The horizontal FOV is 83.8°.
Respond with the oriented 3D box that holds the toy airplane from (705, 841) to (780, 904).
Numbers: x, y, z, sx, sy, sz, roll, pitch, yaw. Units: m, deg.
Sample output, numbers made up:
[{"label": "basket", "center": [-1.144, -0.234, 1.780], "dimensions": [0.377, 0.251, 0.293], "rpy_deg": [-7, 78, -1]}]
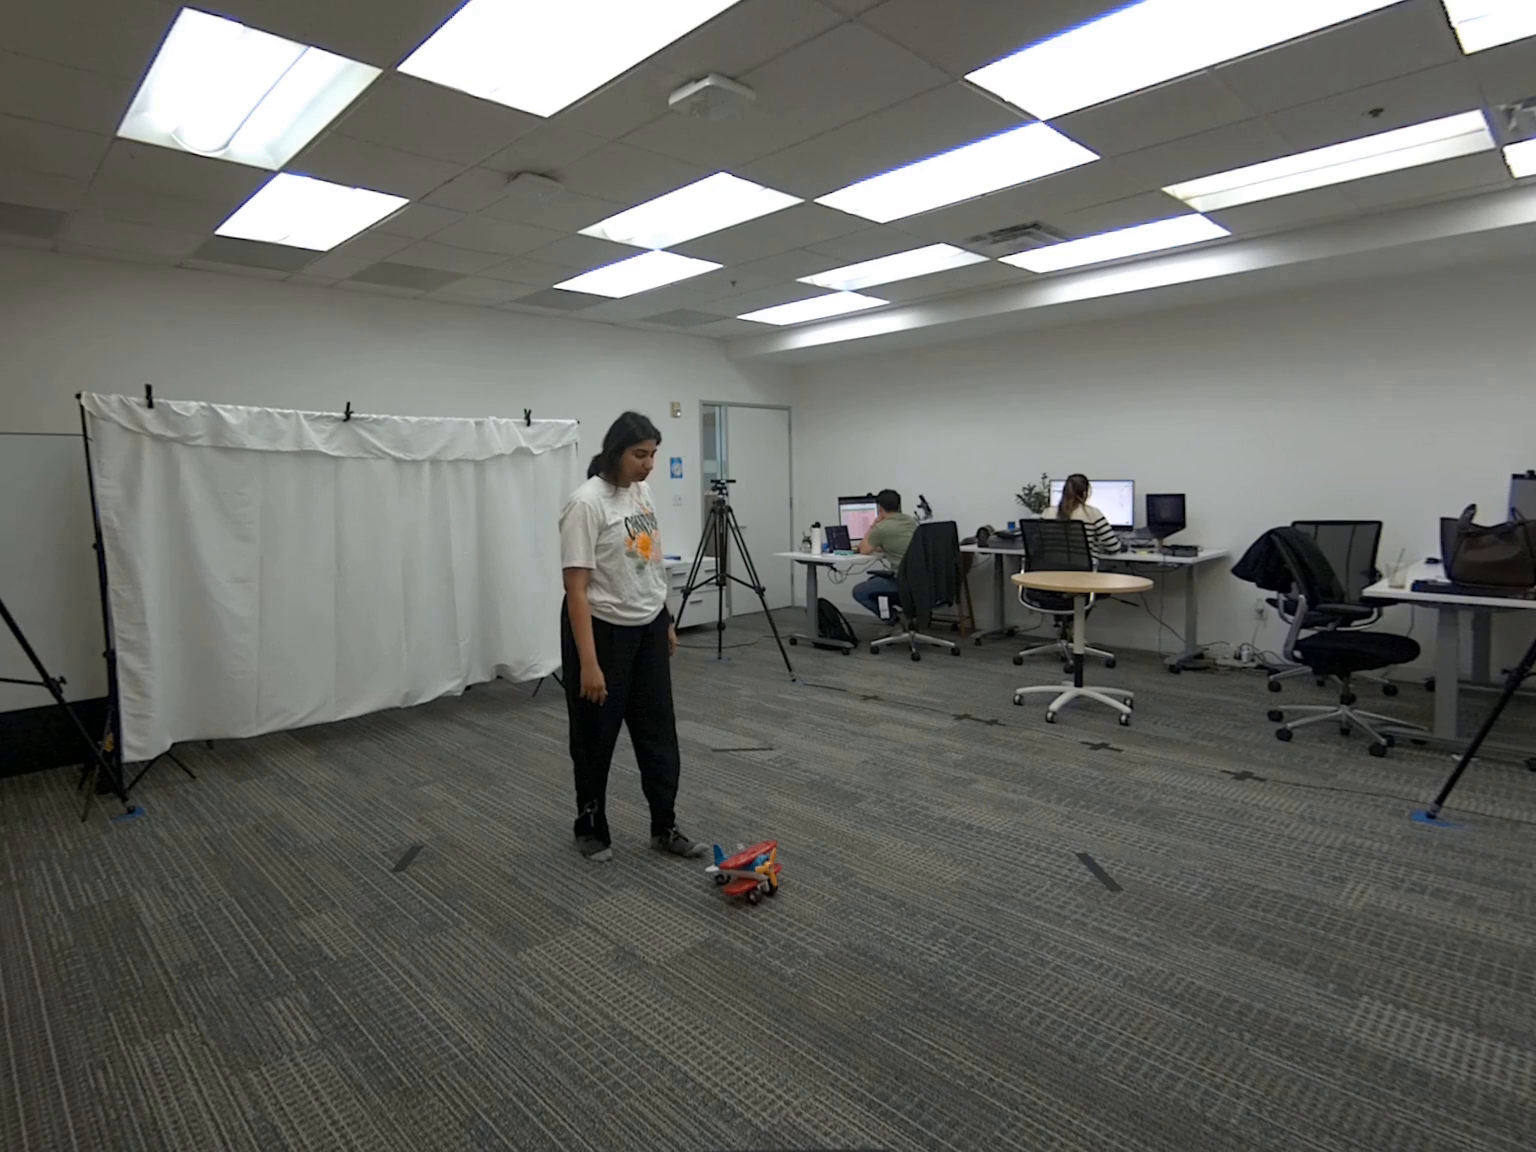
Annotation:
[{"label": "toy airplane", "center": [-0.092, 0.996, 2.884], "dimensions": [0.263, 0.155, 0.249], "rpy_deg": [1, 7, 13]}]
